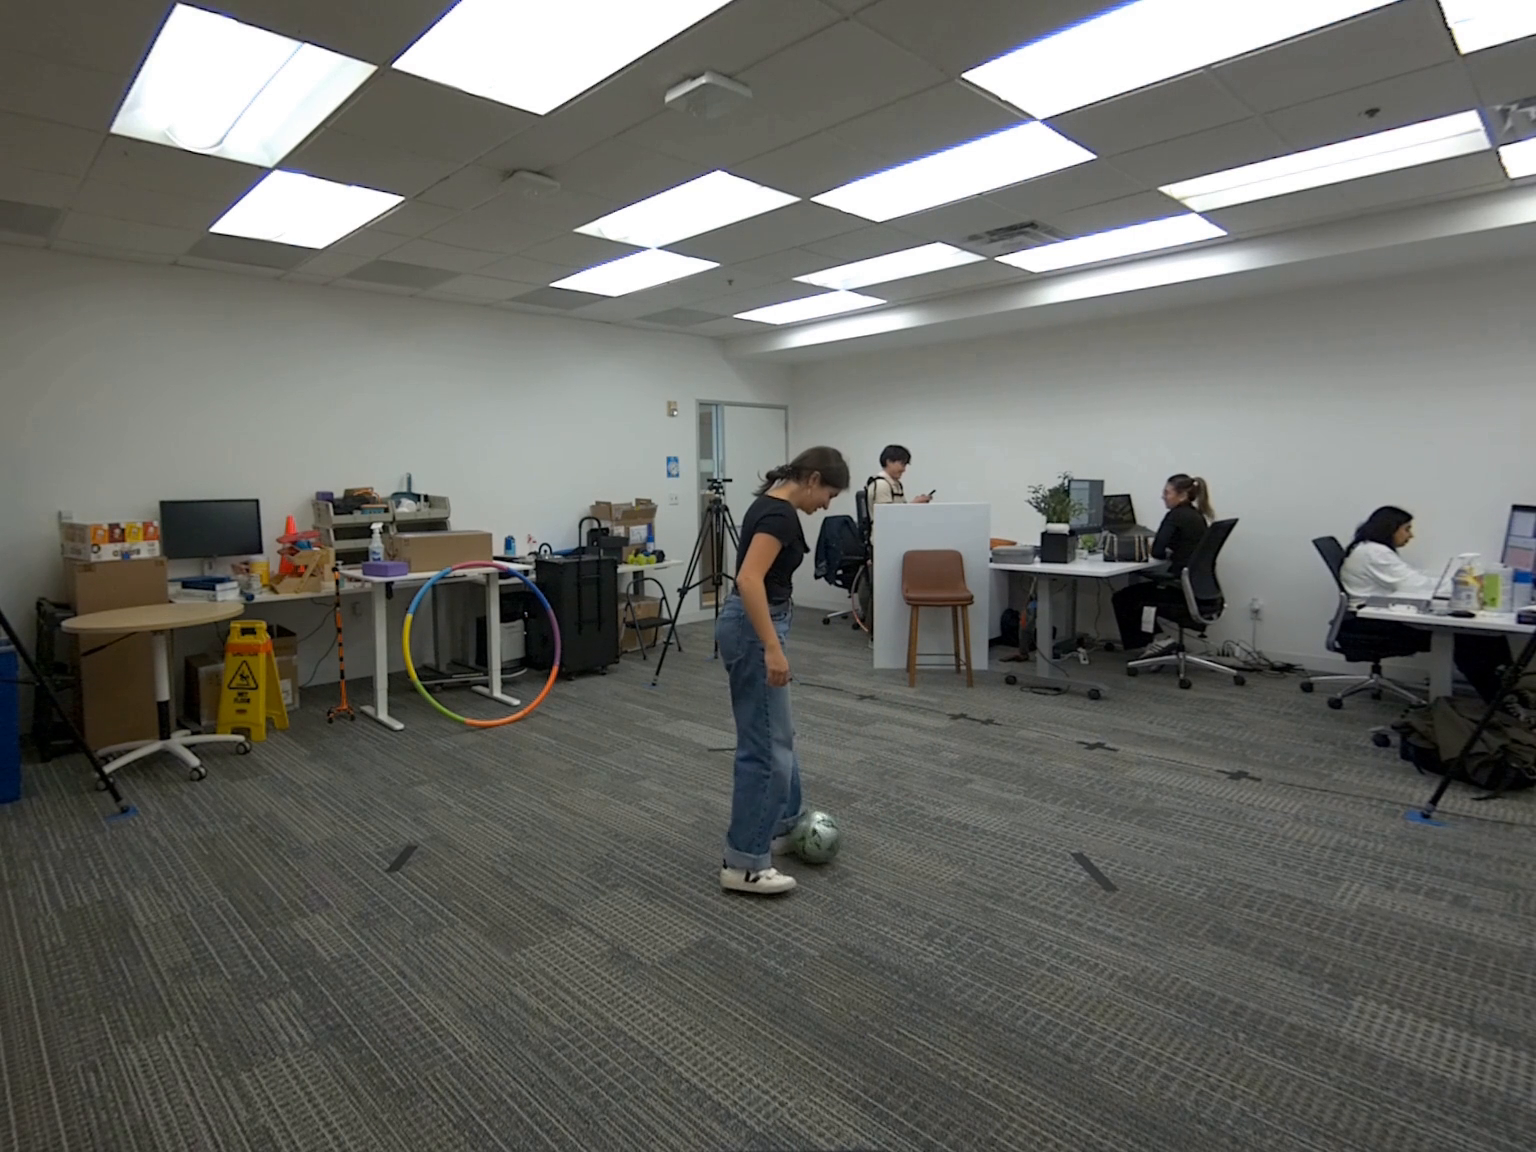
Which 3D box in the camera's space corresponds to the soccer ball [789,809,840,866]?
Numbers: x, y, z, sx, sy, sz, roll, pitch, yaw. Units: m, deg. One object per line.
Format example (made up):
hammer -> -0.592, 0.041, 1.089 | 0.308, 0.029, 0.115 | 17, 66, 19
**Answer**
soccer ball -> 0.187, 0.952, 3.111 | 0.187, 0.187, 0.188 | -1, 5, -2
